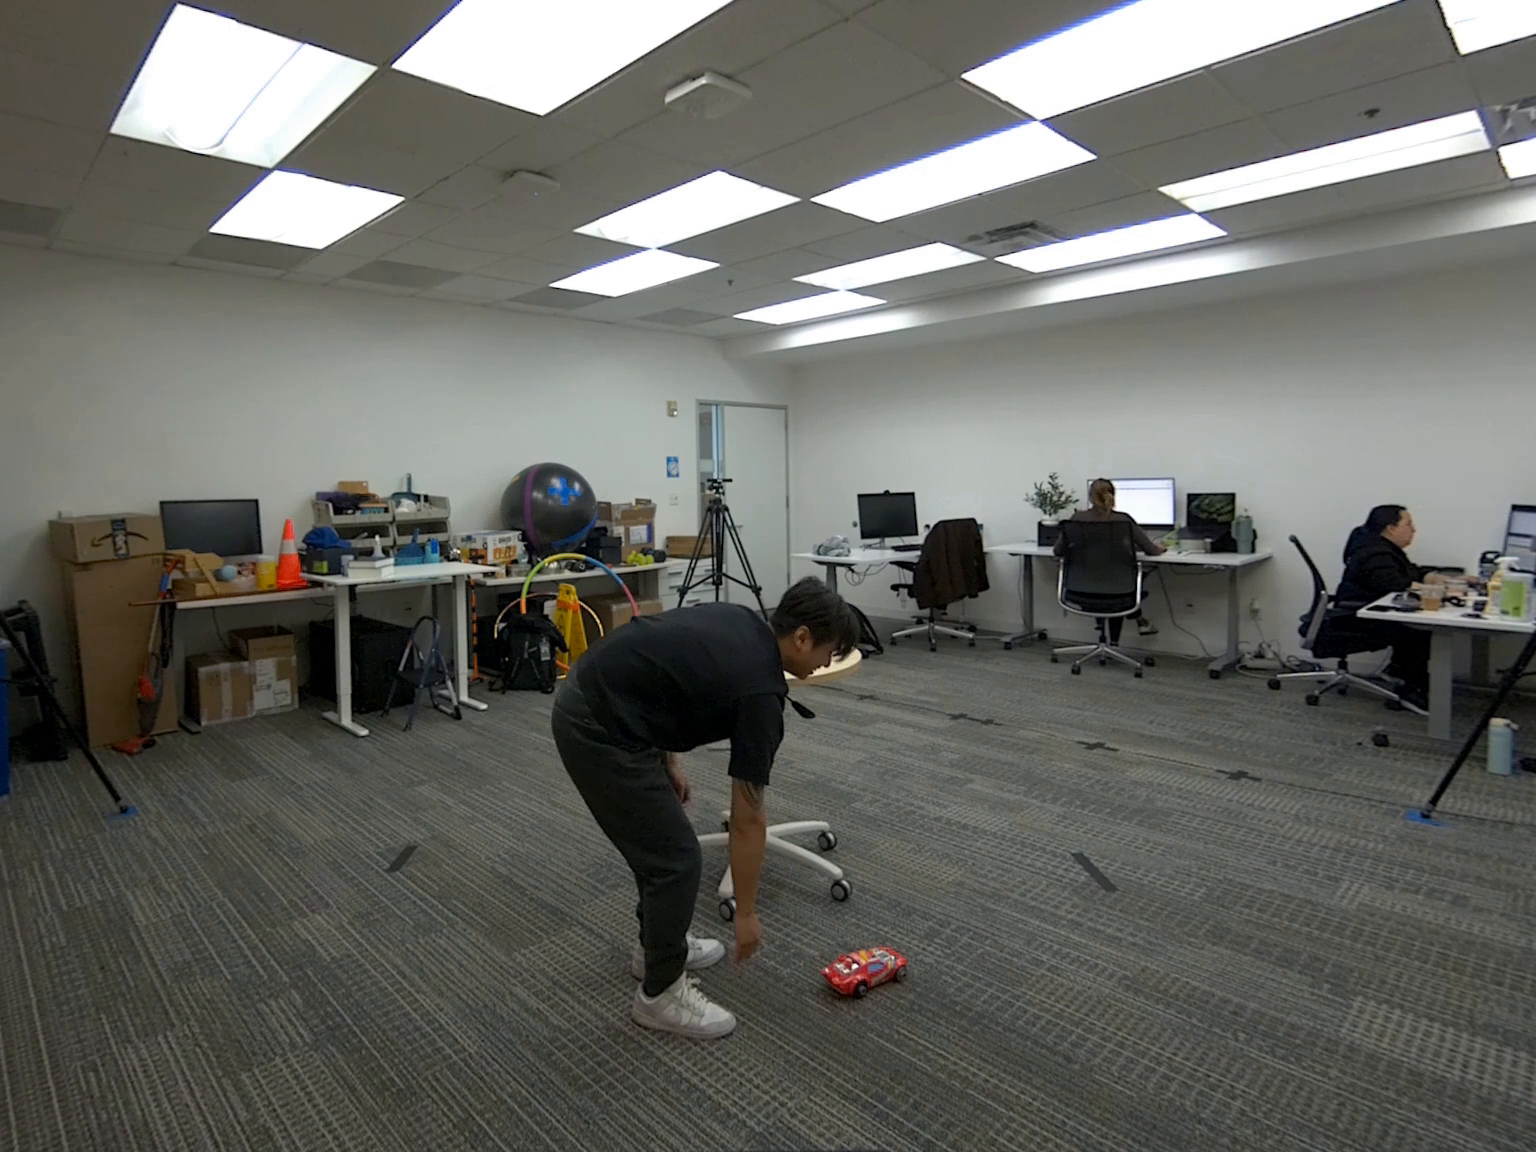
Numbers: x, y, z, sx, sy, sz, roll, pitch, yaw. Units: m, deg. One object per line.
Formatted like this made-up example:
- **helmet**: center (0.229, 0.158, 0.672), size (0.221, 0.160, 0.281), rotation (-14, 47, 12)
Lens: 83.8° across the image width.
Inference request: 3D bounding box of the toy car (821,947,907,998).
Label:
- **toy car**: center (0.275, 1.098, 2.359), size (0.247, 0.083, 0.134), rotation (8, 1, -32)
